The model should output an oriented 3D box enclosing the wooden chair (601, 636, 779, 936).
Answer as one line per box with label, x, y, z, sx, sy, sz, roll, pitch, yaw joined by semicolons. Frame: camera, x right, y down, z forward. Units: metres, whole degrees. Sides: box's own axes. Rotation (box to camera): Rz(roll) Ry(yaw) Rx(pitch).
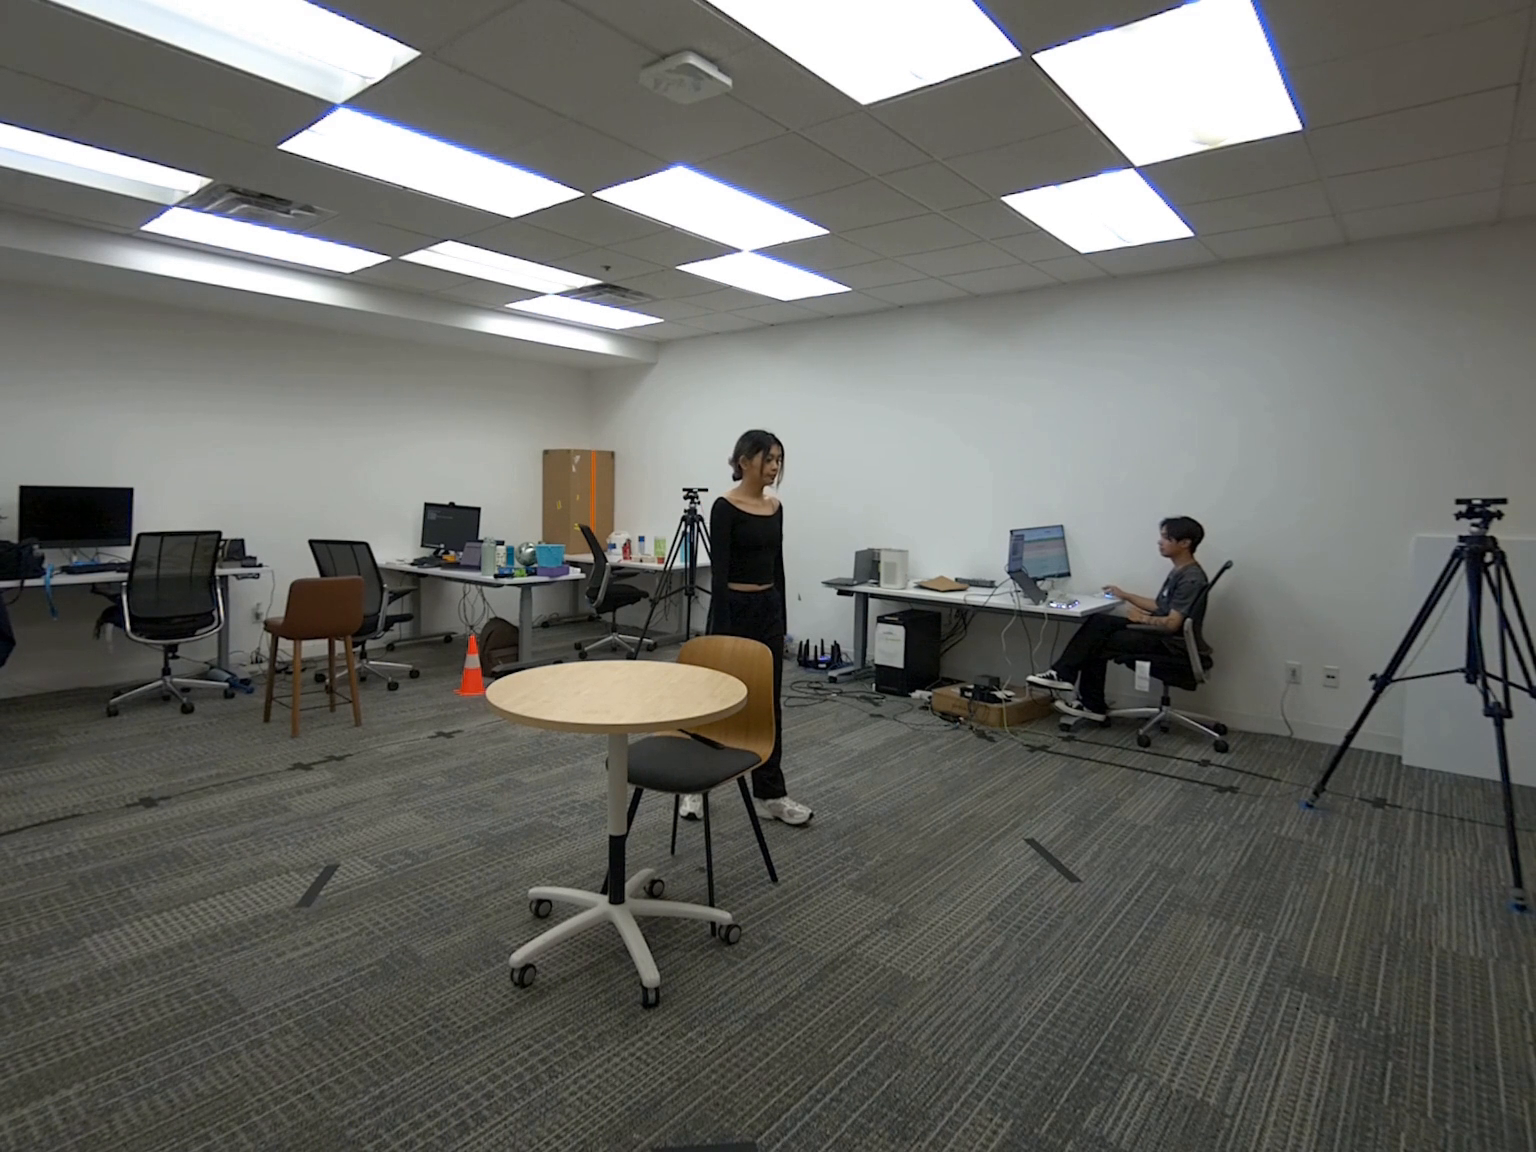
wooden chair;-0.267;0.659;2.907;0.492;0.878;0.508;4;0;29
